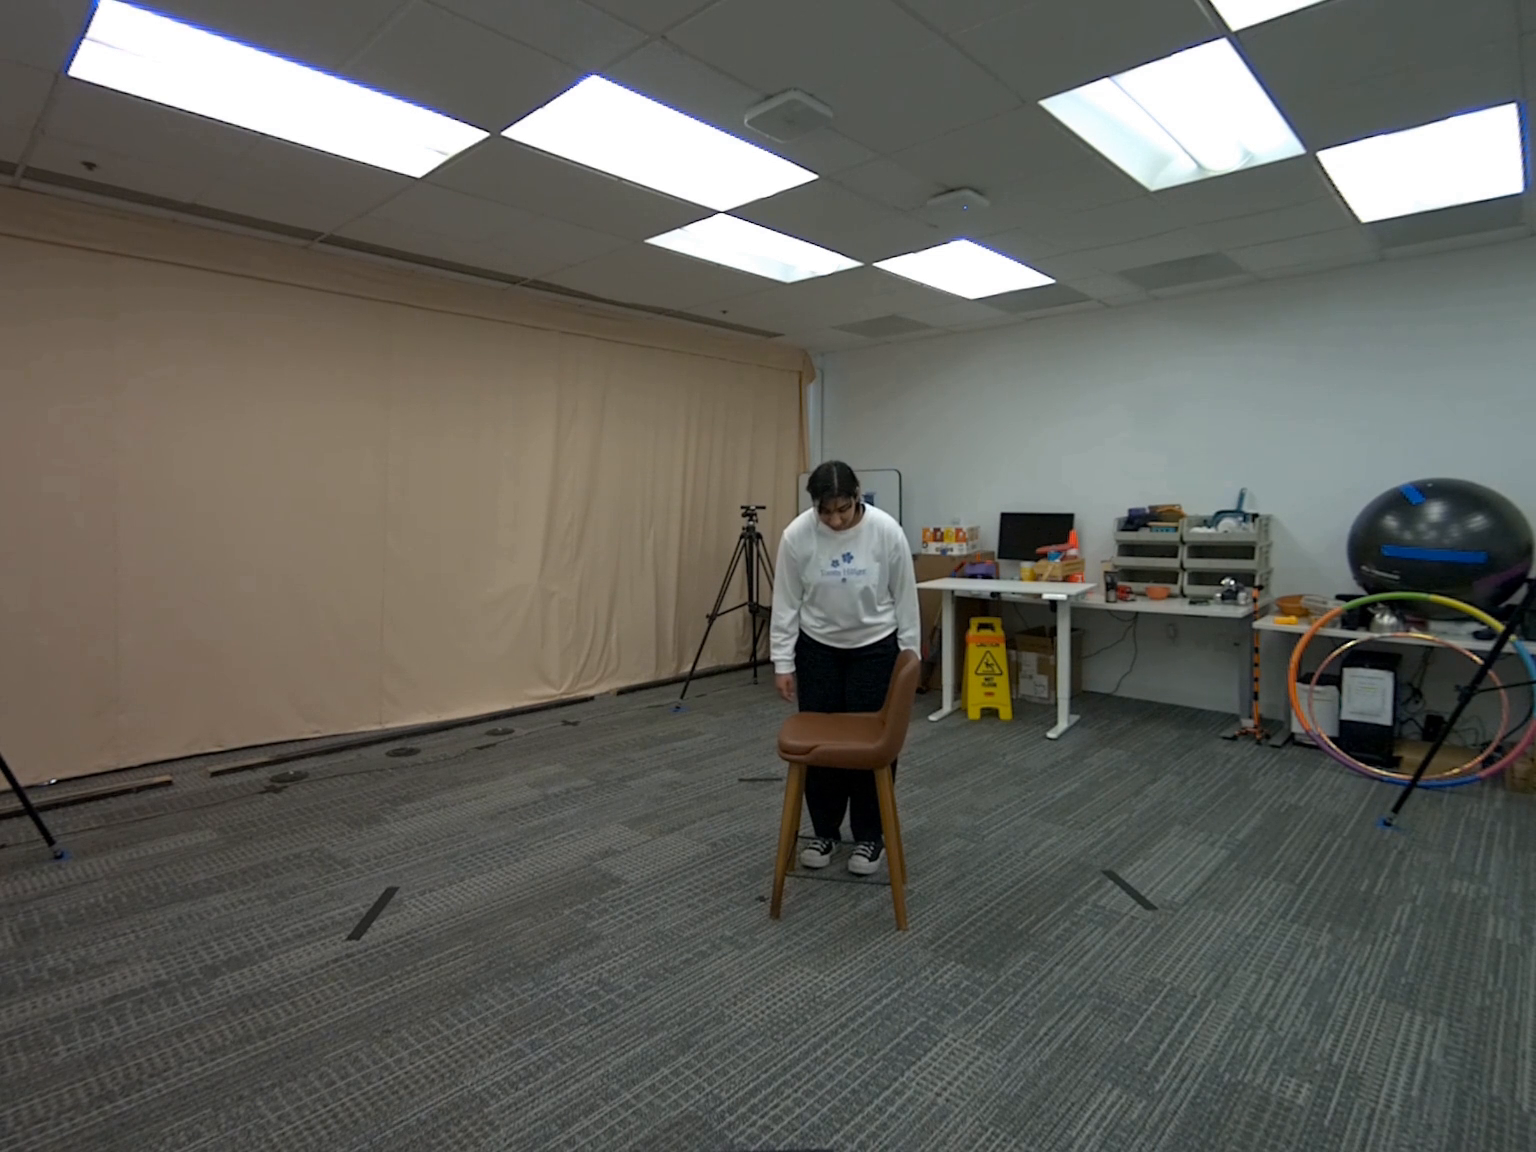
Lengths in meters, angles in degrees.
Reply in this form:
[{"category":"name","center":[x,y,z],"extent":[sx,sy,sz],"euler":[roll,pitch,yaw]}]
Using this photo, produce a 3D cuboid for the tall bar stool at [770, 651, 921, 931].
[{"category":"tall bar stool","center":[0.268,0.710,2.963],"extent":[0.474,0.888,0.451],"euler":[2,3,12]}]
